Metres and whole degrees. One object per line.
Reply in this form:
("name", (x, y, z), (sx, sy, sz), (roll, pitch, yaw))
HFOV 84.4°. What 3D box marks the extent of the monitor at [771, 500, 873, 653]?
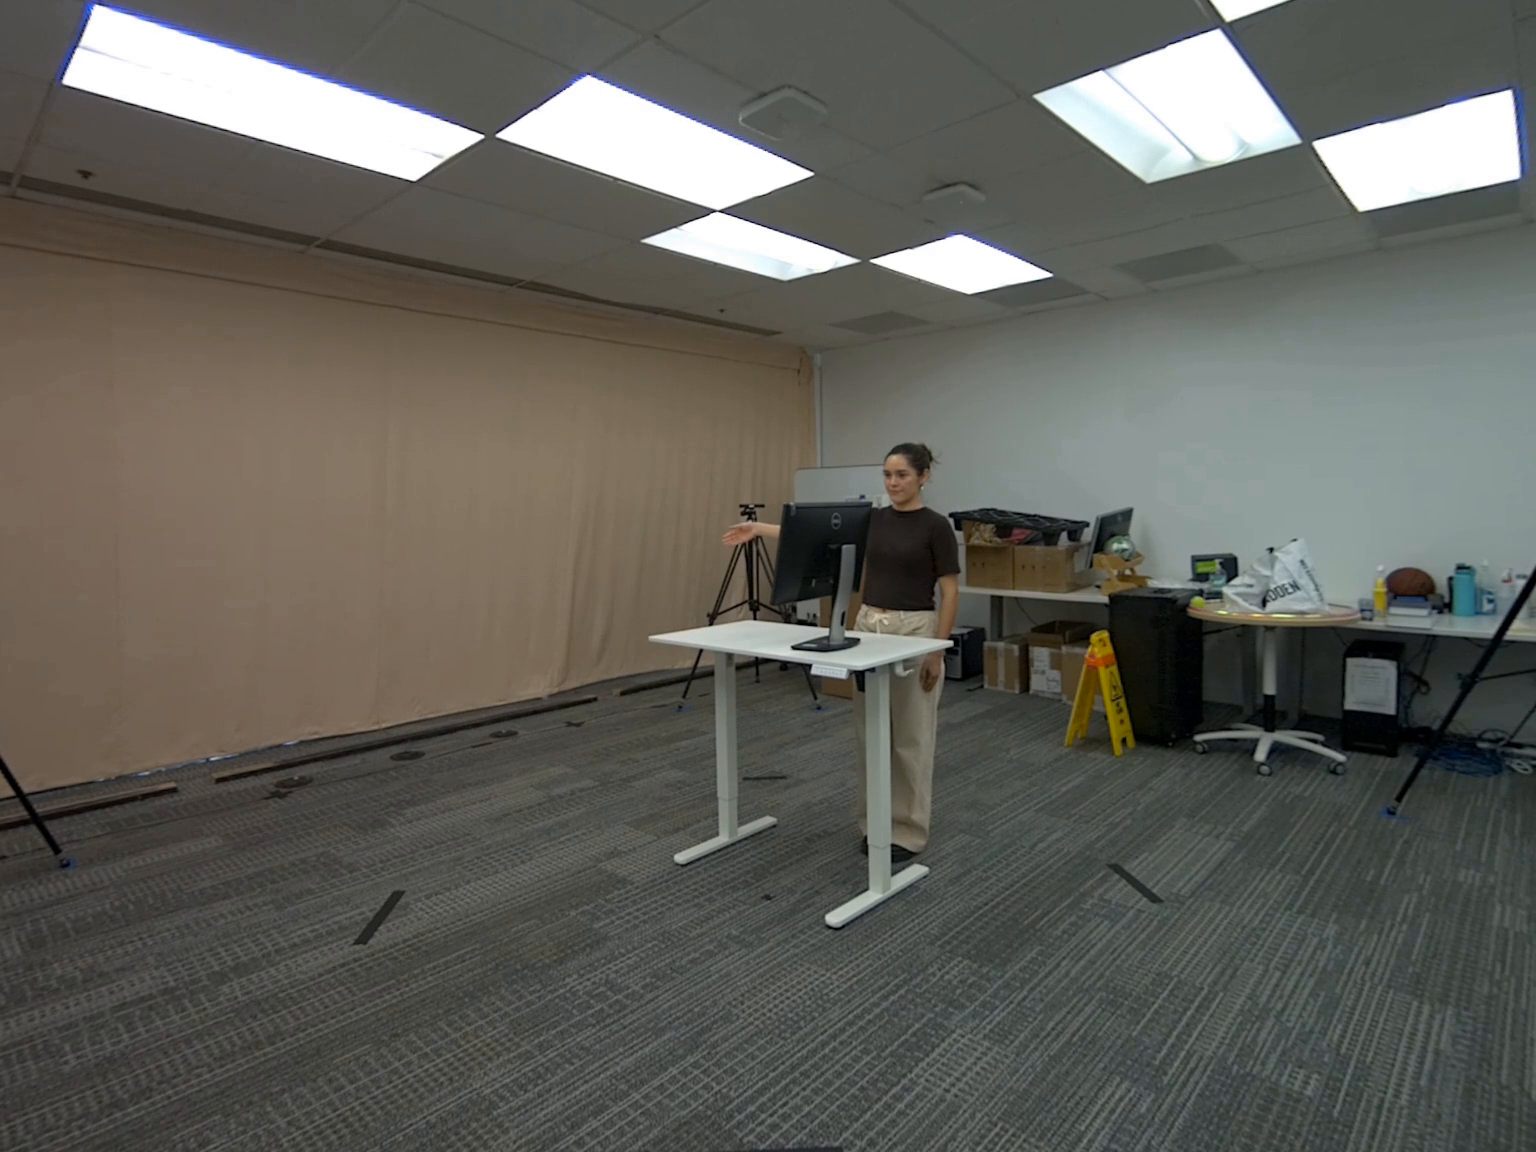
("monitor", (0.223, -0.001, 2.996), (0.193, 0.521, 0.523), (1, 4, 40))
